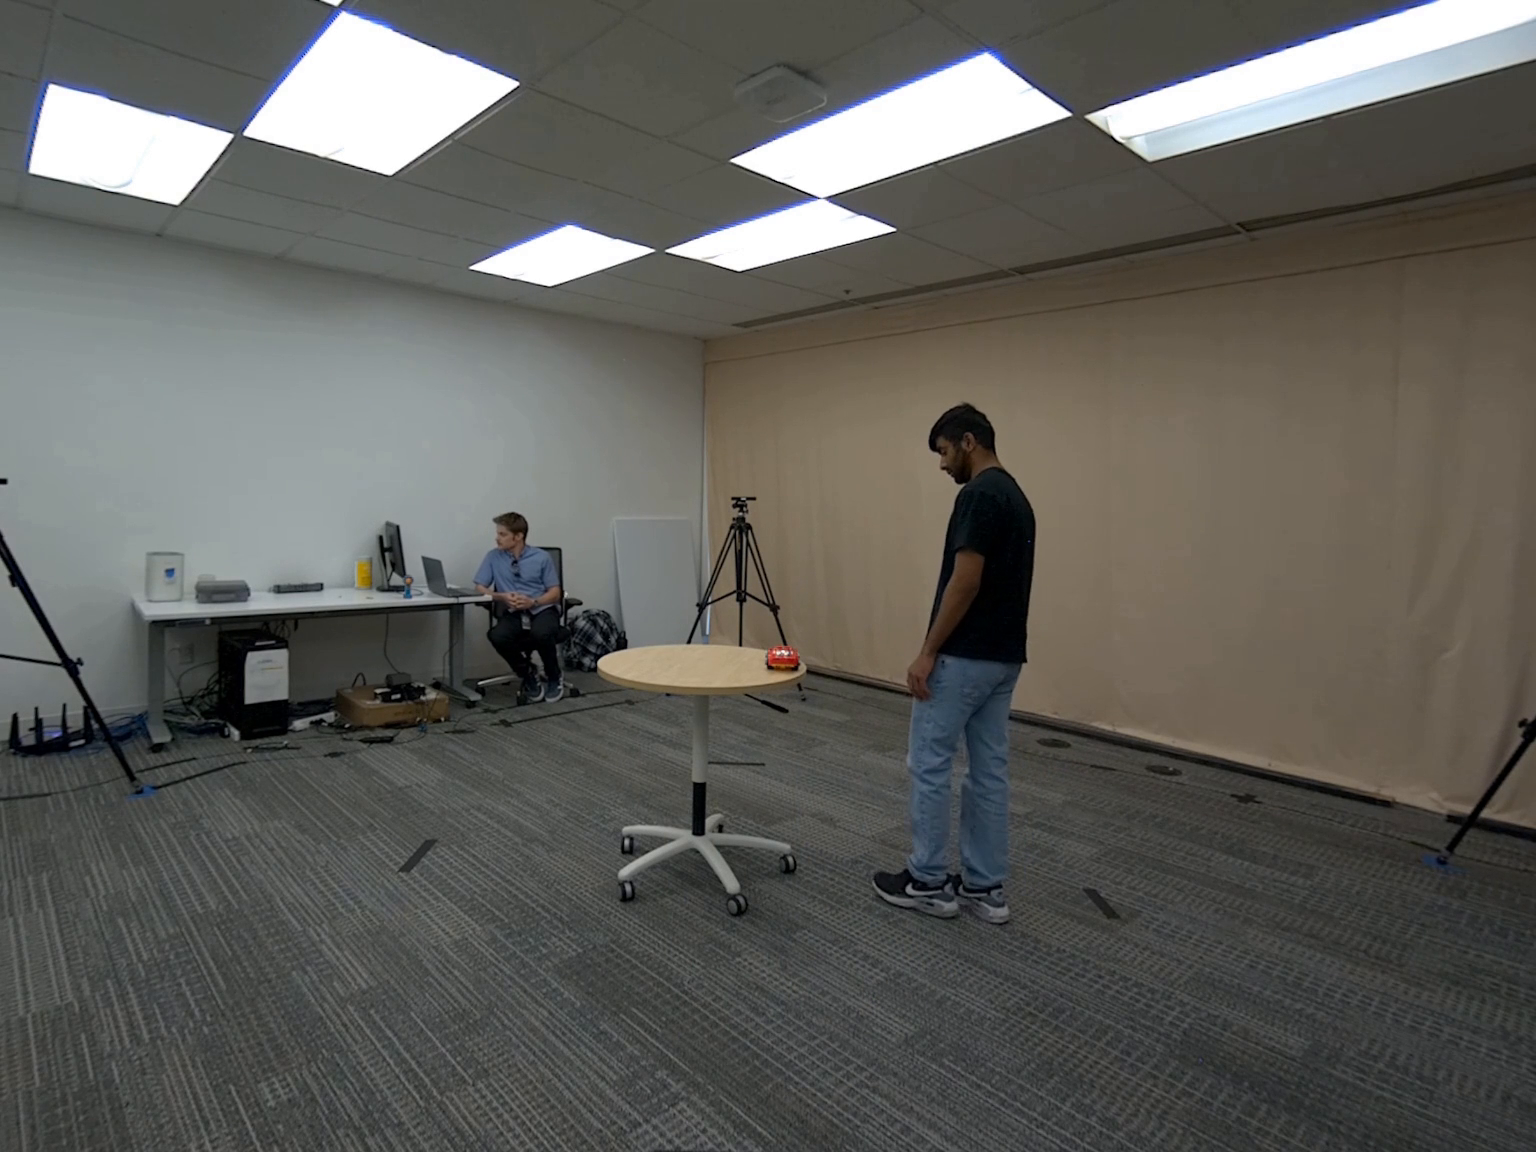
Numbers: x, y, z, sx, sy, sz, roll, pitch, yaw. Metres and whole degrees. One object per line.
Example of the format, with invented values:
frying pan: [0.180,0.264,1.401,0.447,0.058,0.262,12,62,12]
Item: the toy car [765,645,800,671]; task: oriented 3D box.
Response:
toy car: [0.051,0.301,3.076,0.130,0.083,0.253,1,-6,1]
